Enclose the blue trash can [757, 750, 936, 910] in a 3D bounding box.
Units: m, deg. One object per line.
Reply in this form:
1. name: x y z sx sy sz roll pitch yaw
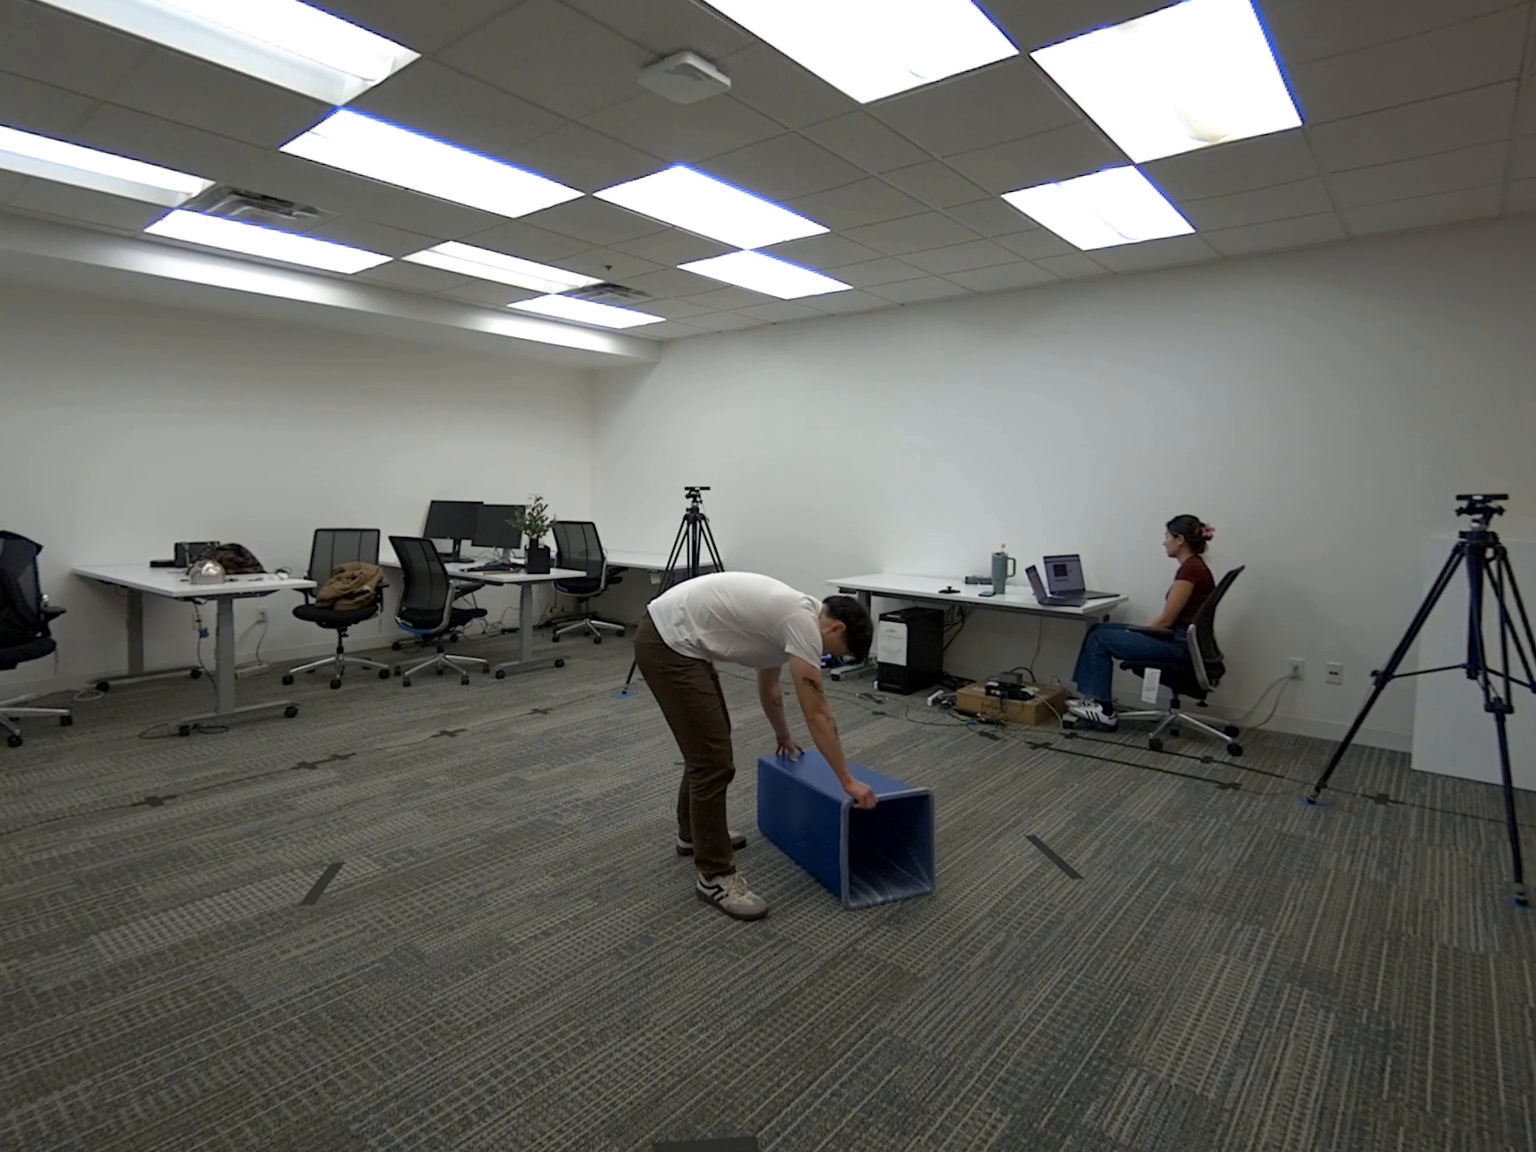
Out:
1. blue trash can: 0.248 0.894 3.188 0.365 0.377 0.732 -2 4 -25
